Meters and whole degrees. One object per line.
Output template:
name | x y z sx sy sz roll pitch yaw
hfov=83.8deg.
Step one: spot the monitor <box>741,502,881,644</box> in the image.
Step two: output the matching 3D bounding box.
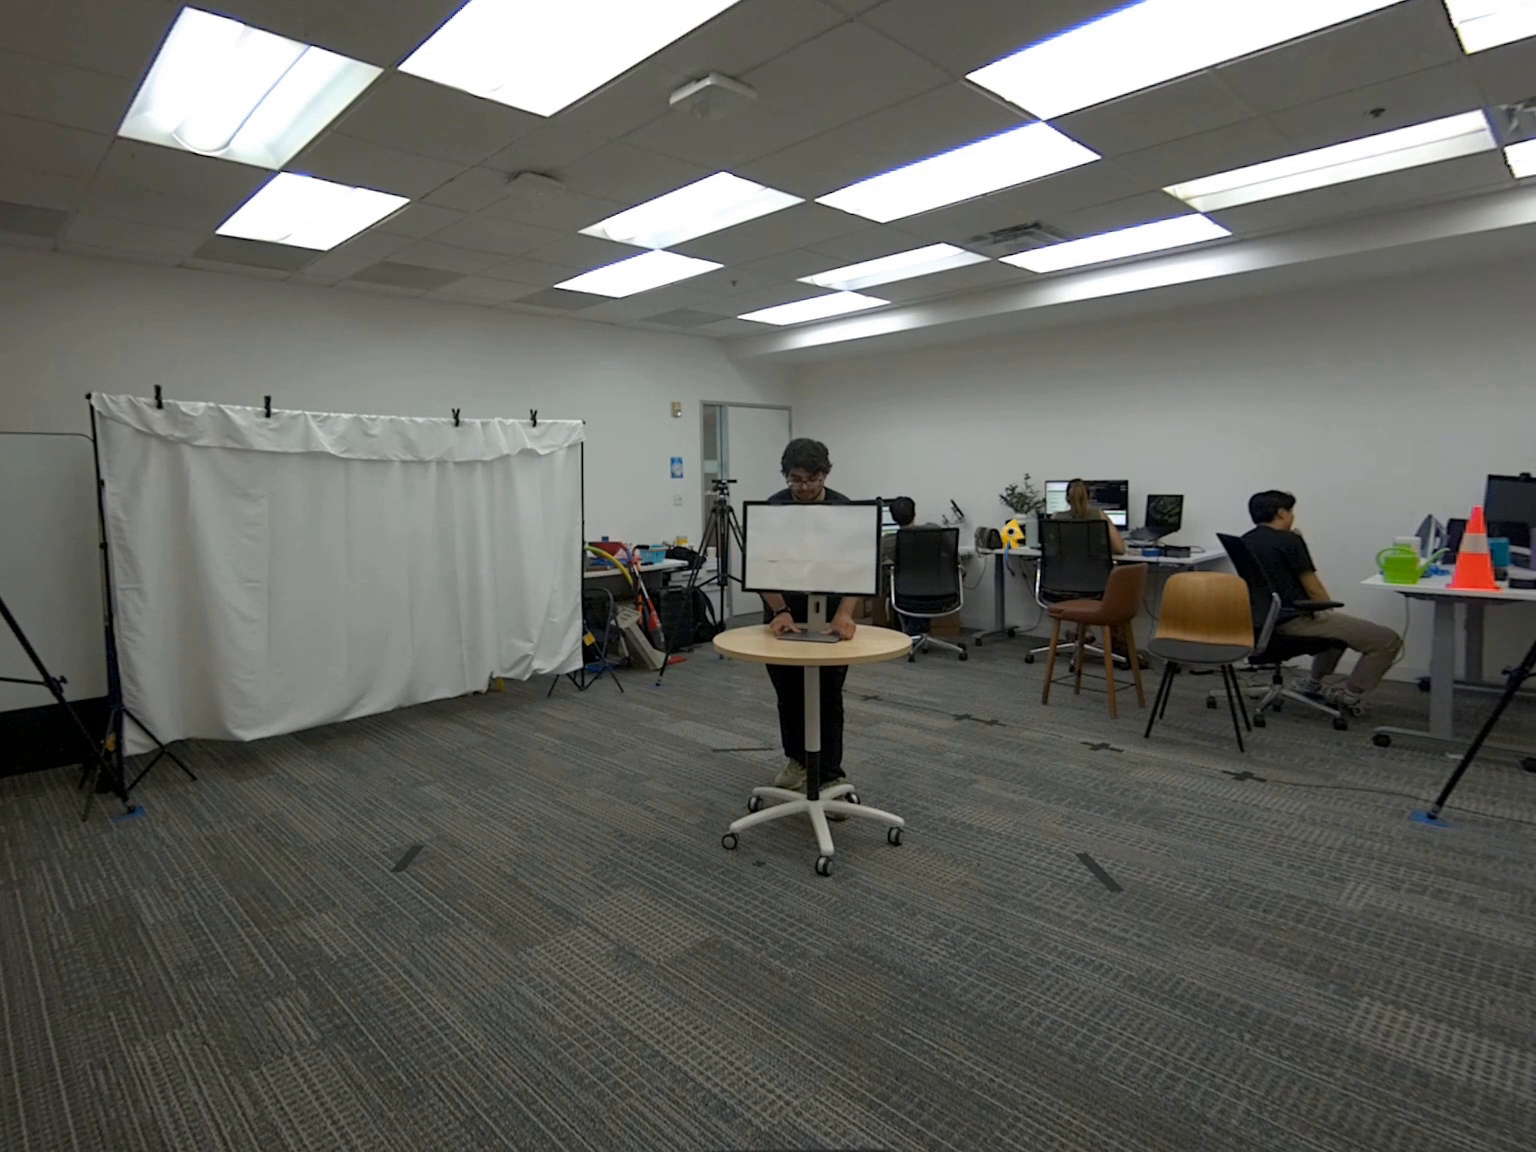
monitor | 0.187 -0.024 3.361 0.578 0.553 0.206 1 3 25
